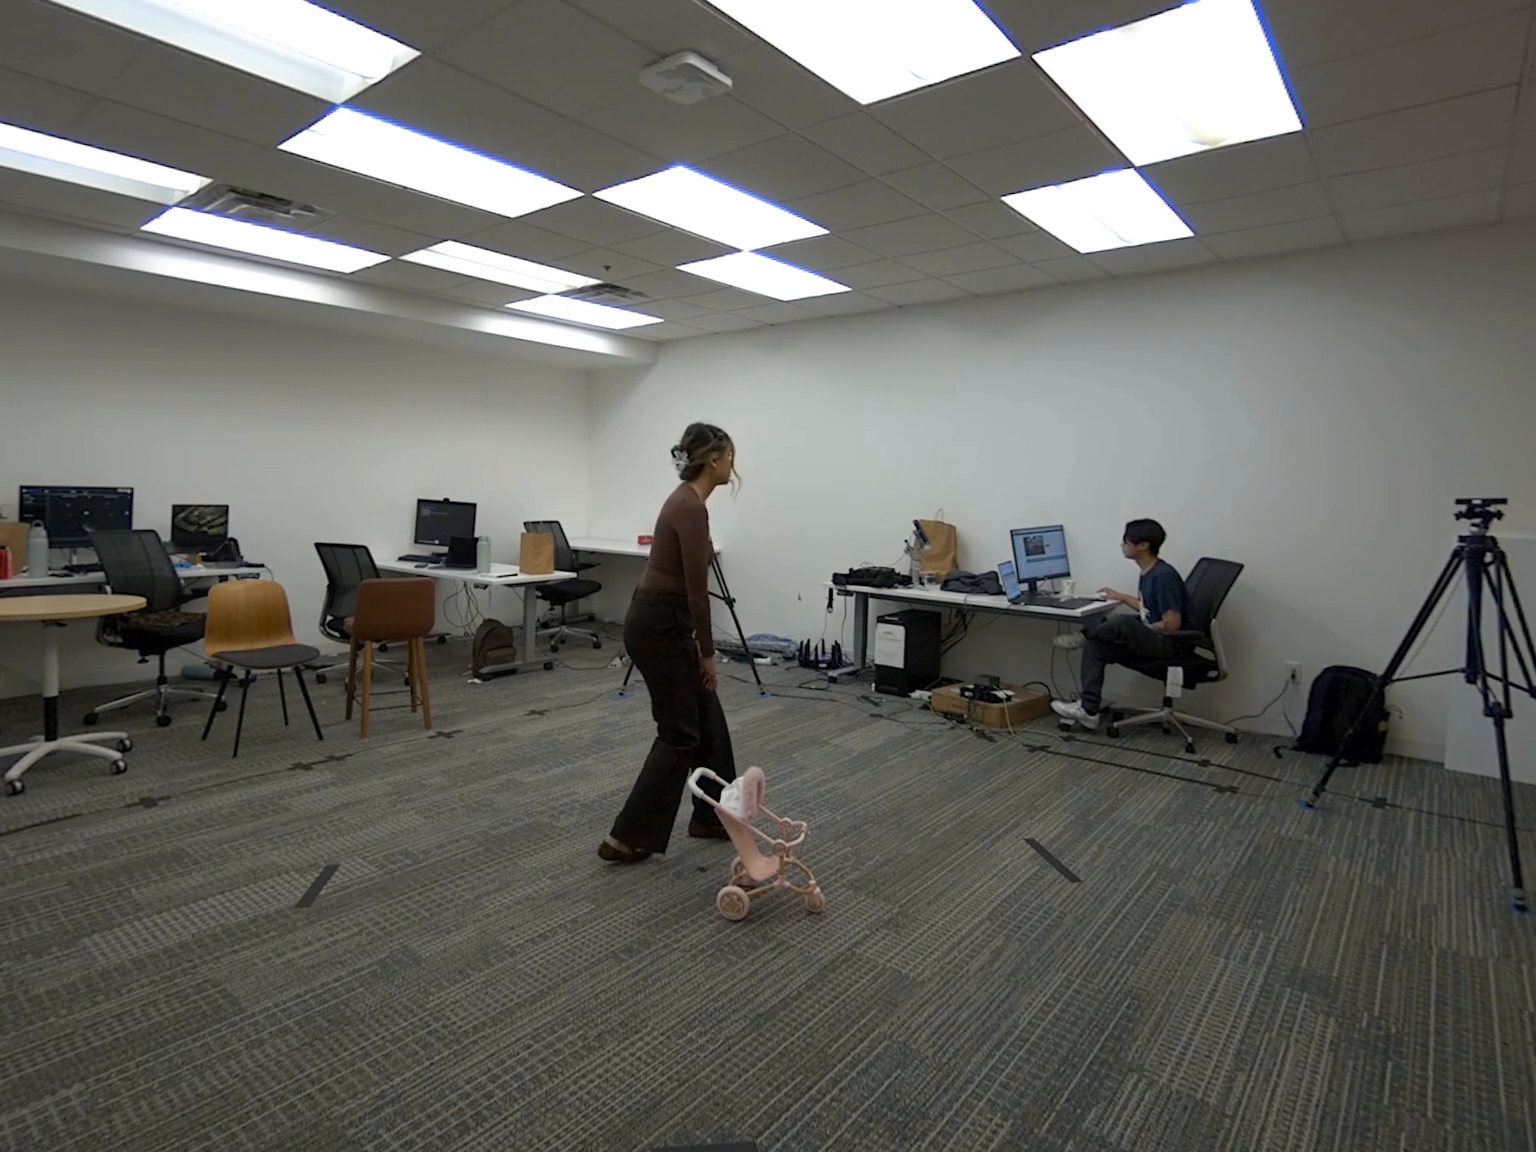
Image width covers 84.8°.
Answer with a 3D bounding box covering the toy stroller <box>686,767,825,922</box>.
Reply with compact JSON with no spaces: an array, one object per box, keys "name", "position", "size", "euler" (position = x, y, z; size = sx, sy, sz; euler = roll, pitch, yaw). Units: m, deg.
[{"name":"toy stroller","position":[-0.037,0.877,2.838],"size":[0.345,0.536,0.278],"euler":[-16,-1,15]}]
